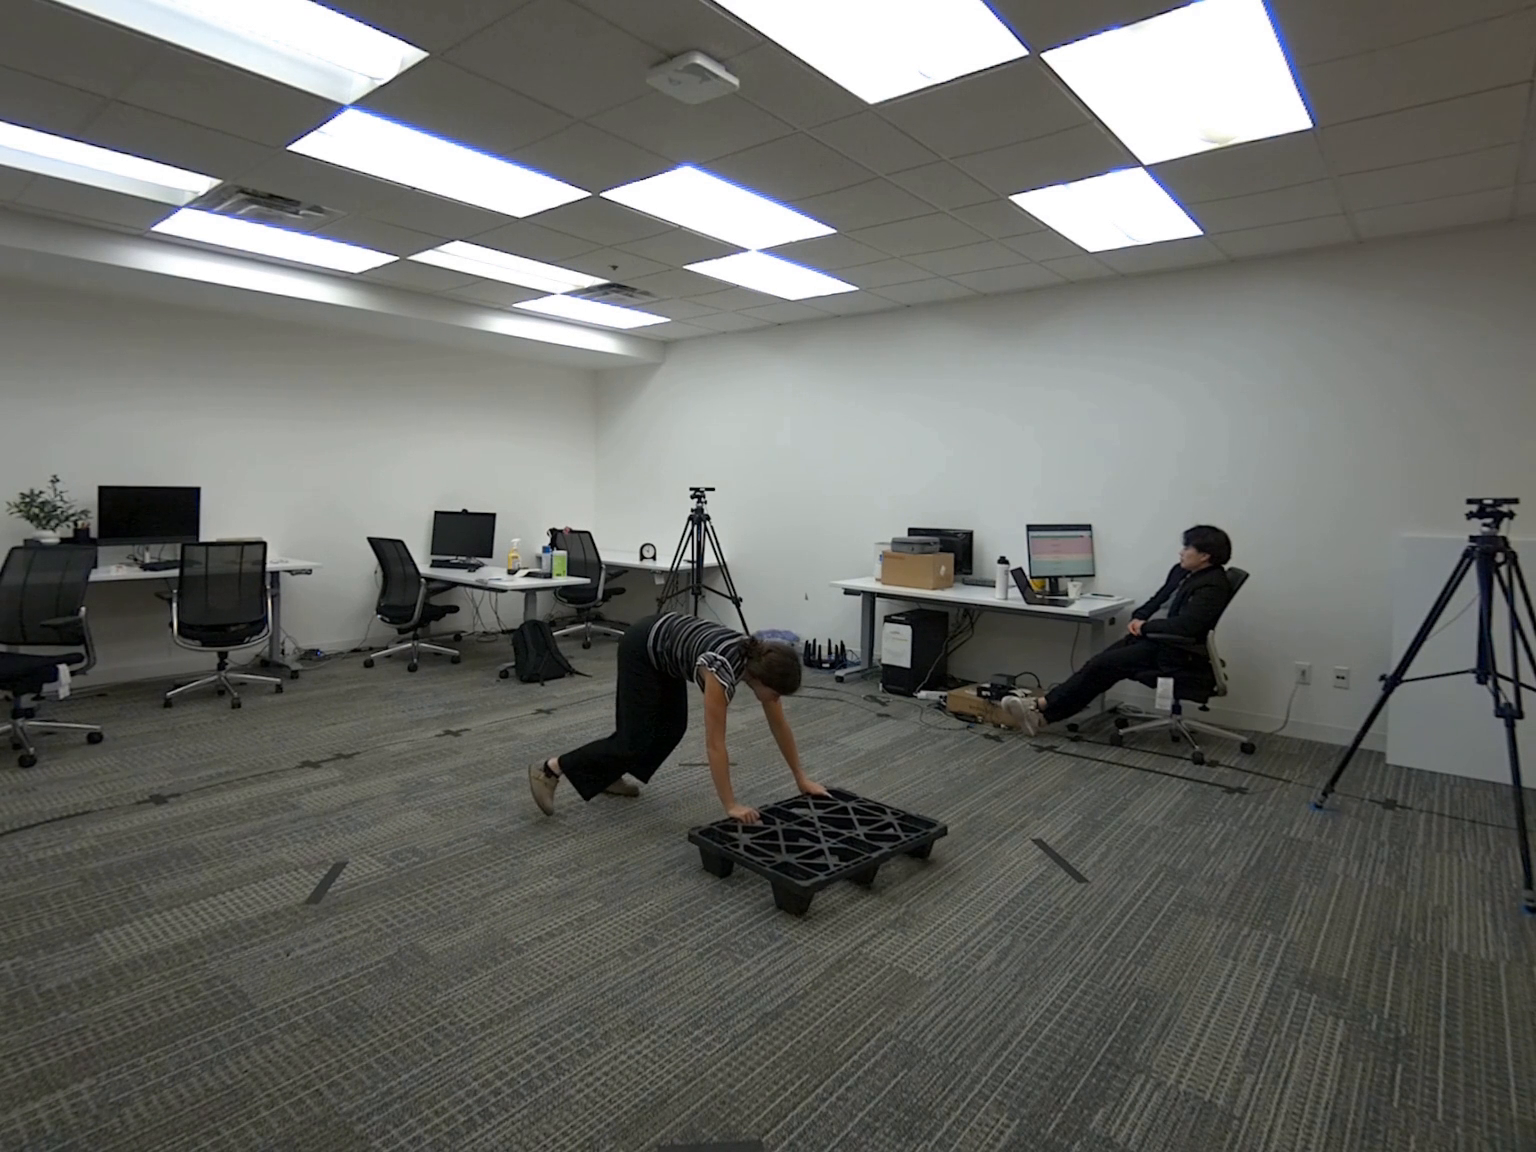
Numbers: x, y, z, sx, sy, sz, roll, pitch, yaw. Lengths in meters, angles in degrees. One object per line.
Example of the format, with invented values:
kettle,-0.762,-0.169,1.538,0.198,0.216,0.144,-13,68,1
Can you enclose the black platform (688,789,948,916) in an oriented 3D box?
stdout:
black platform,0.184,0.999,3.169,0.781,0.143,0.626,-4,7,-43
